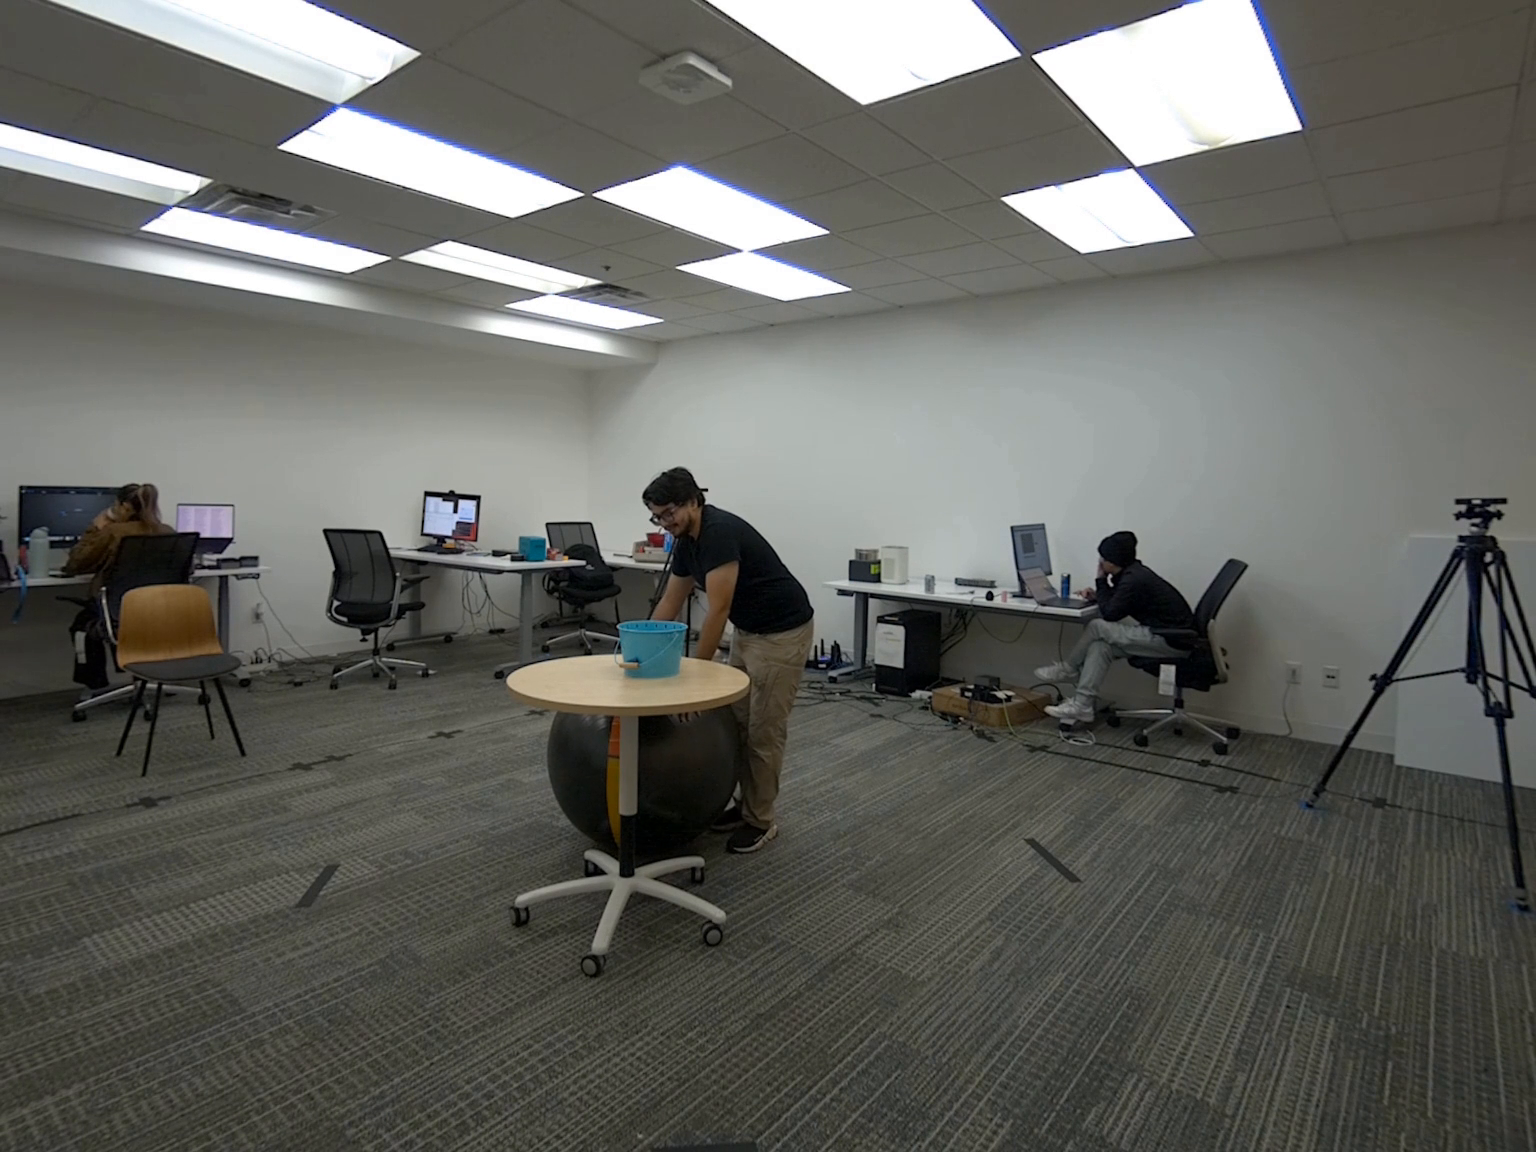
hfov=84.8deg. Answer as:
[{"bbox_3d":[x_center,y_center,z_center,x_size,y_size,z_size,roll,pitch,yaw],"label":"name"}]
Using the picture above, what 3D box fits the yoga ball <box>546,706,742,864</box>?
[{"bbox_3d":[-0.501,0.696,3.348,0.757,0.755,0.762,1,4,-2],"label":"yoga ball"}]
